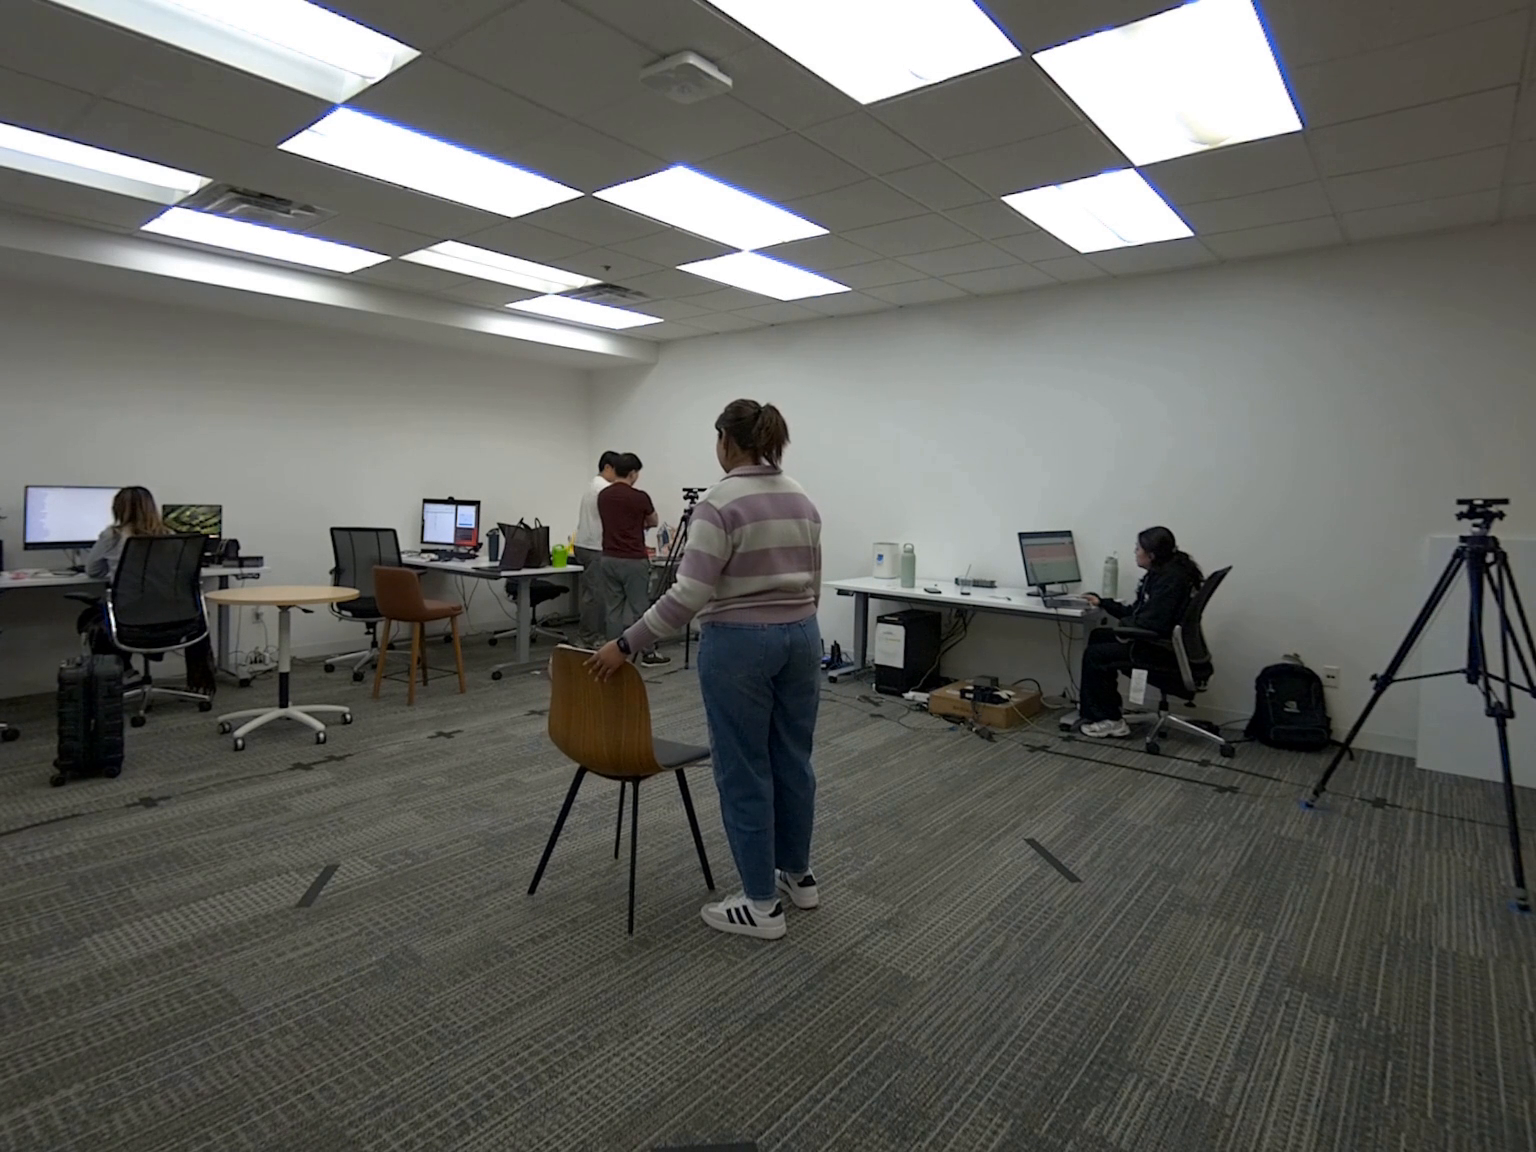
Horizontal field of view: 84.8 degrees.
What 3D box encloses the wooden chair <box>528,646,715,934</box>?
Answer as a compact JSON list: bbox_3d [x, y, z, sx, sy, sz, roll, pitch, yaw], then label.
[{"bbox_3d":[-0.479,0.645,2.898,0.493,0.875,0.509,3,4,32],"label":"wooden chair"}]
